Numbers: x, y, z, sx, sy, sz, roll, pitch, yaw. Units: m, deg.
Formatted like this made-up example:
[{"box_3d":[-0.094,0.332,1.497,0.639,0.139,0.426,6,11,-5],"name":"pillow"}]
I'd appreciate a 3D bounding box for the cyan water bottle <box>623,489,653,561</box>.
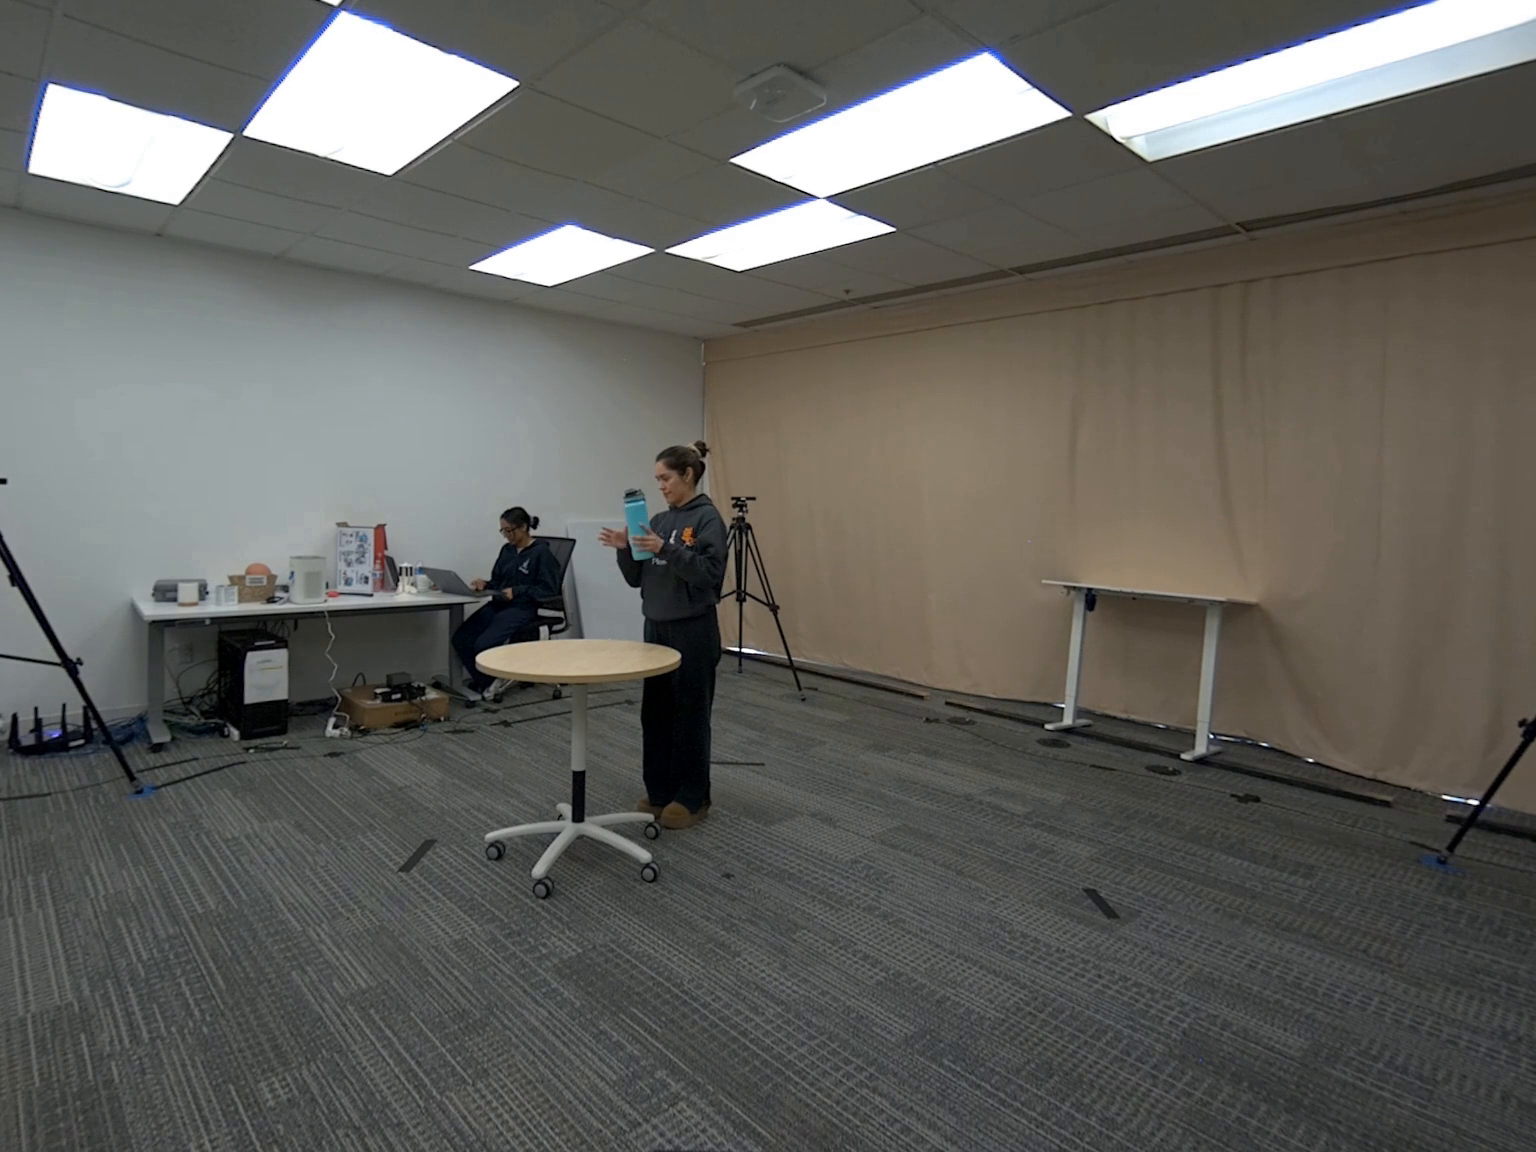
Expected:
[{"box_3d":[-0.529,-0.185,3.359,0.092,0.282,0.093,-8,7,0],"name":"cyan water bottle"}]
